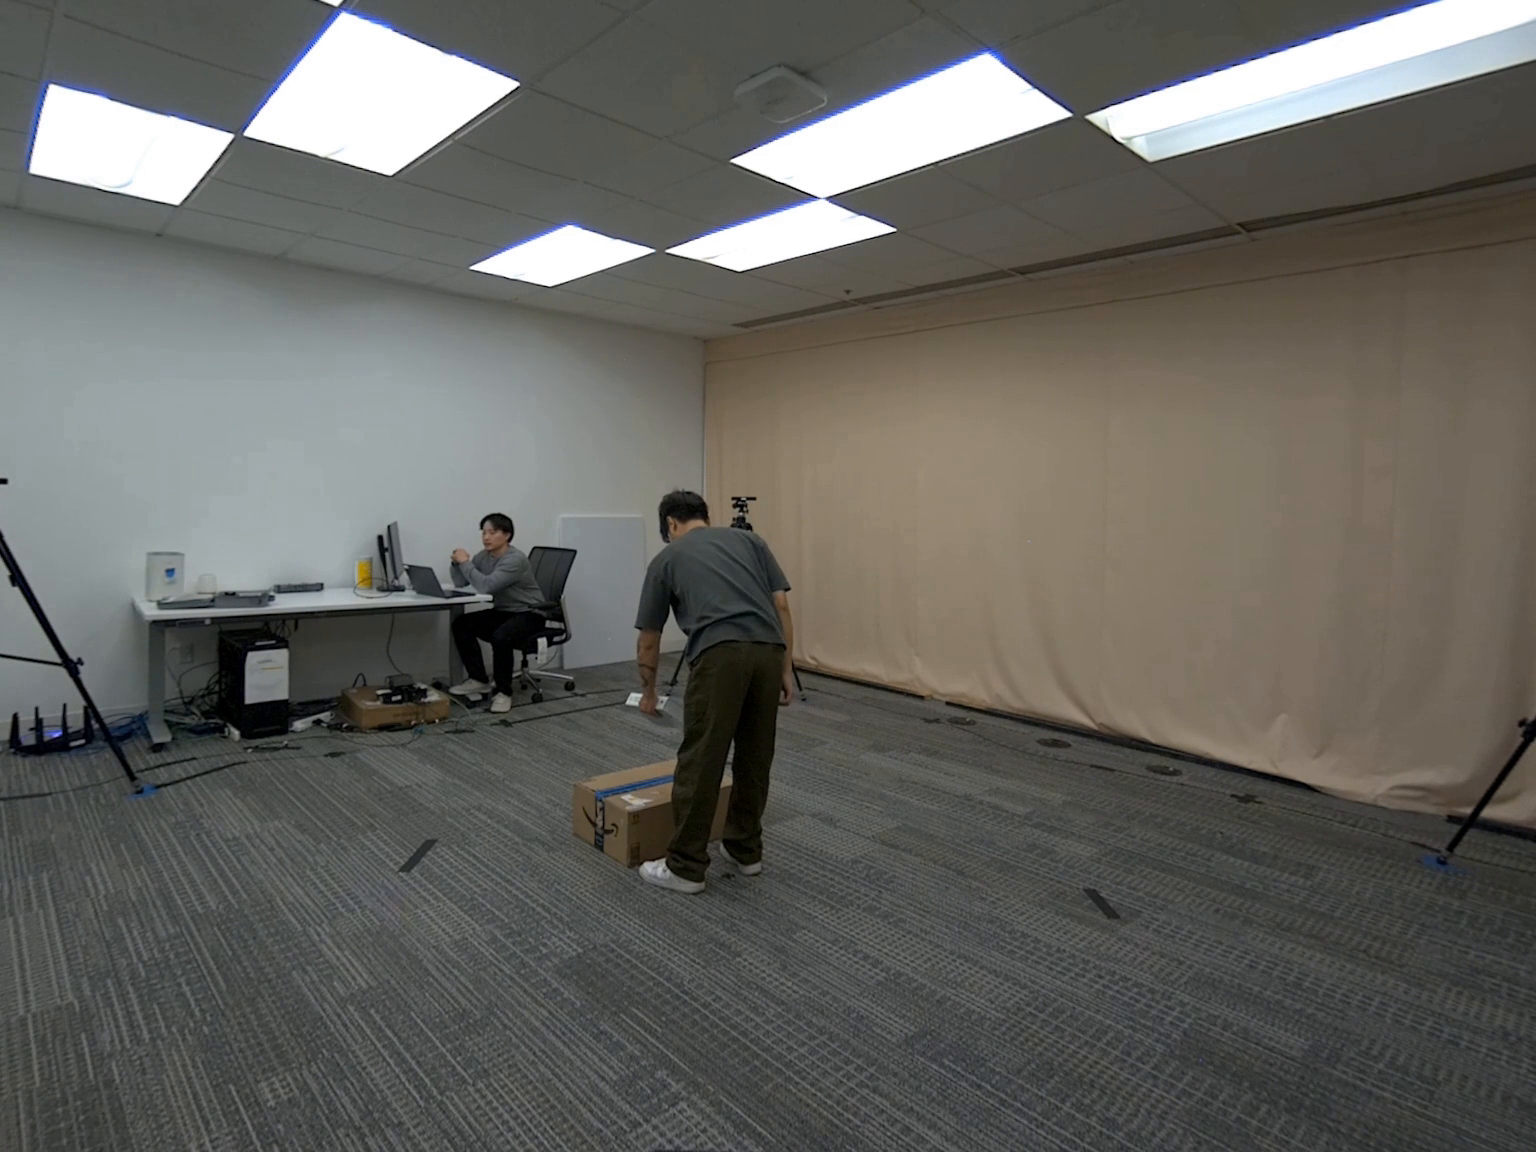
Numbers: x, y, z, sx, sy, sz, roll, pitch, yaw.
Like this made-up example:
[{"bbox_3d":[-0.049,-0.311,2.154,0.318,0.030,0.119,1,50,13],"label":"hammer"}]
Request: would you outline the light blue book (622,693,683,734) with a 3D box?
[{"bbox_3d":[-0.435,0.553,3.408,0.267,0.059,0.186,-3,-37,48],"label":"light blue book"}]
